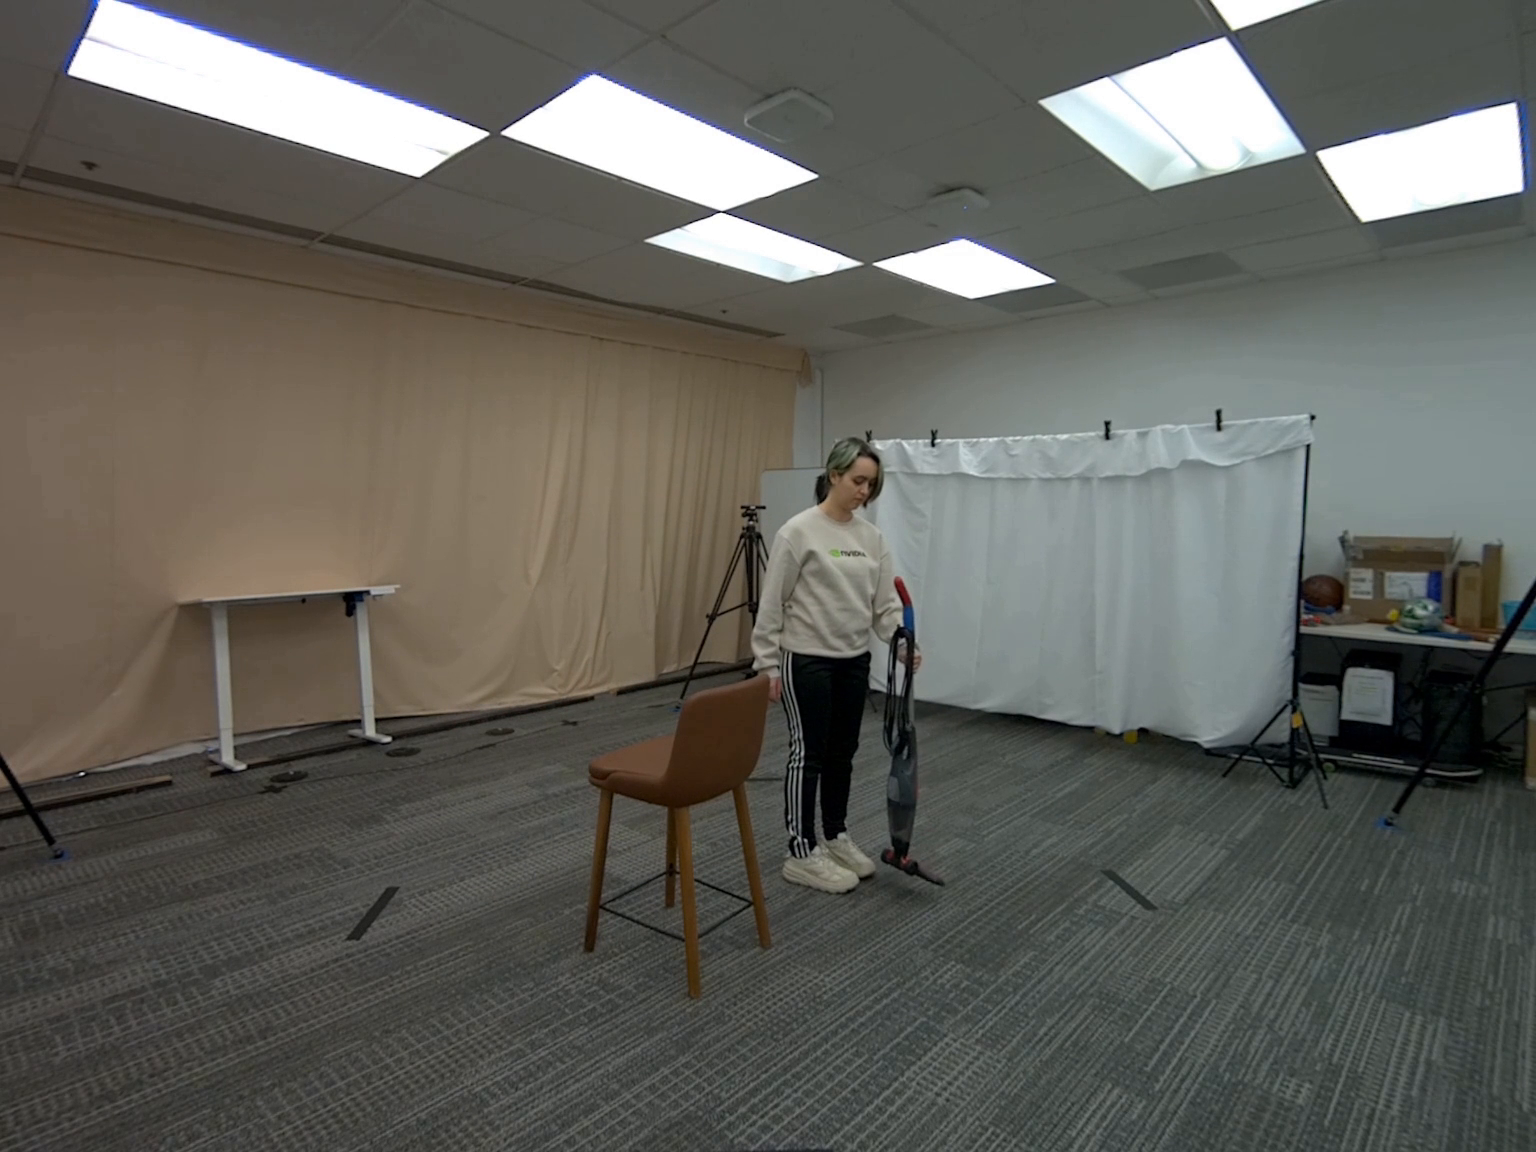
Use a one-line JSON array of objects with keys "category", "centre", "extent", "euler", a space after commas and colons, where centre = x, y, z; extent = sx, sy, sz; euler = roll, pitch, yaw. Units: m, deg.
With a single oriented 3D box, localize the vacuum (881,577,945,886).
[{"category": "vacuum", "centre": [0.486, 0.542, 2.940], "extent": [0.140, 1.043, 0.261], "euler": [-10, 12, -43]}]
